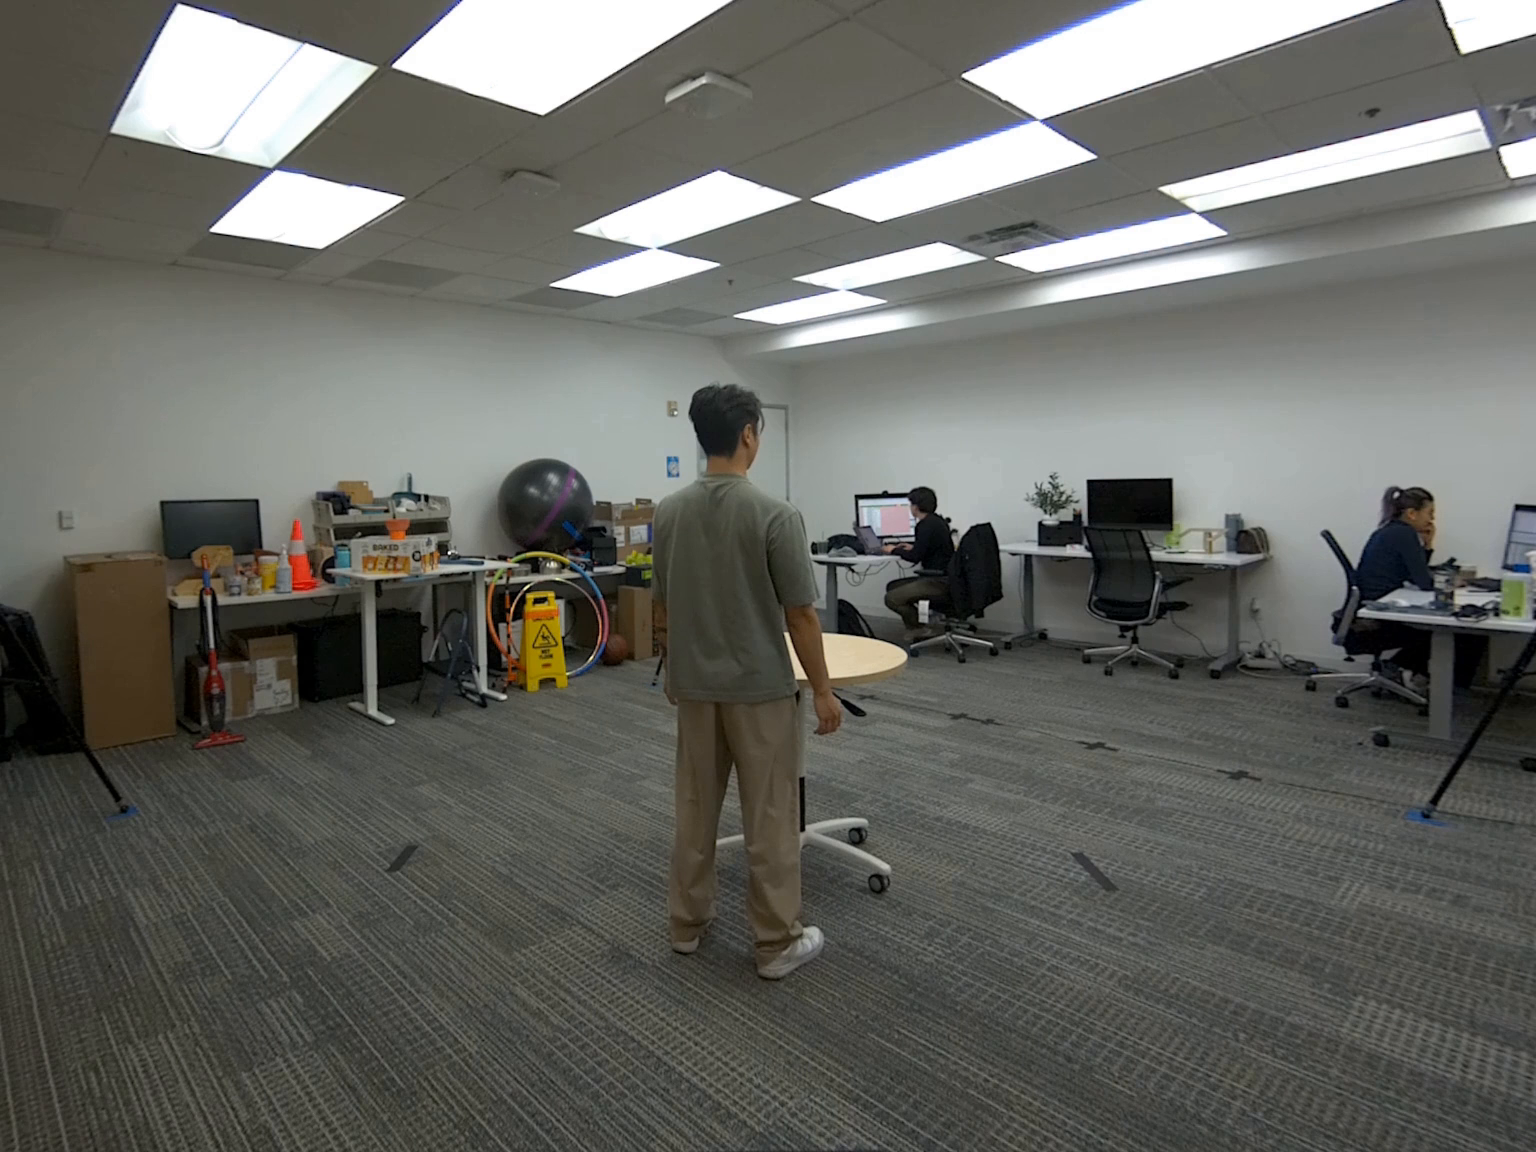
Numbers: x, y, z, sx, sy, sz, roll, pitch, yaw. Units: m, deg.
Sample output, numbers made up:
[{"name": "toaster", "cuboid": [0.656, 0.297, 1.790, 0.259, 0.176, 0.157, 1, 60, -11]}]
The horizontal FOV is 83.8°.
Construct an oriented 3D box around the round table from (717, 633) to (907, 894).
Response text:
[{"name": "round table", "cuboid": [0.096, 0.658, 3.047, 0.784, 0.783, 0.789, -1, 5, -2]}]
